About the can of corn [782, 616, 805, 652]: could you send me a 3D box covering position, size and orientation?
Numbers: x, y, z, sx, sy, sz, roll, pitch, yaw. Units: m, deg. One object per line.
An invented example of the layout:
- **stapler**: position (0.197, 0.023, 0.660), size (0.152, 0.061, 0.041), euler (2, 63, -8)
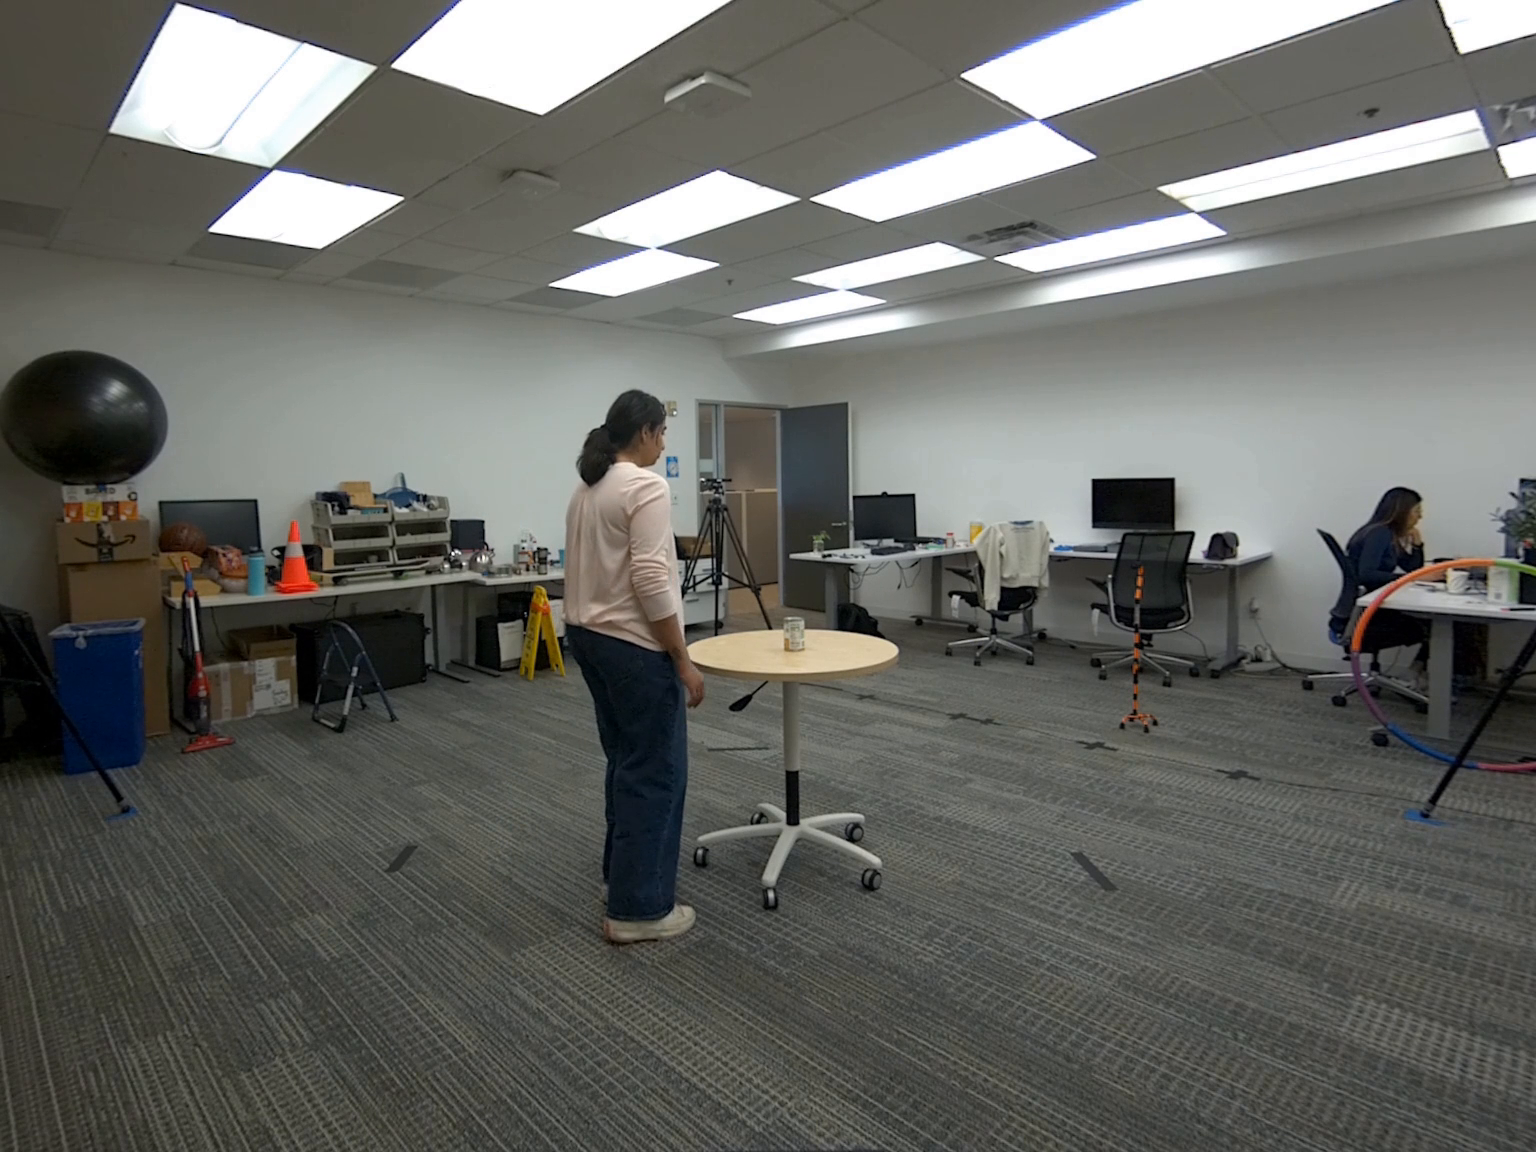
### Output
- **can of corn**: position (0.093, 0.209, 3.049), size (0.074, 0.111, 0.074), euler (-1, 4, -2)
